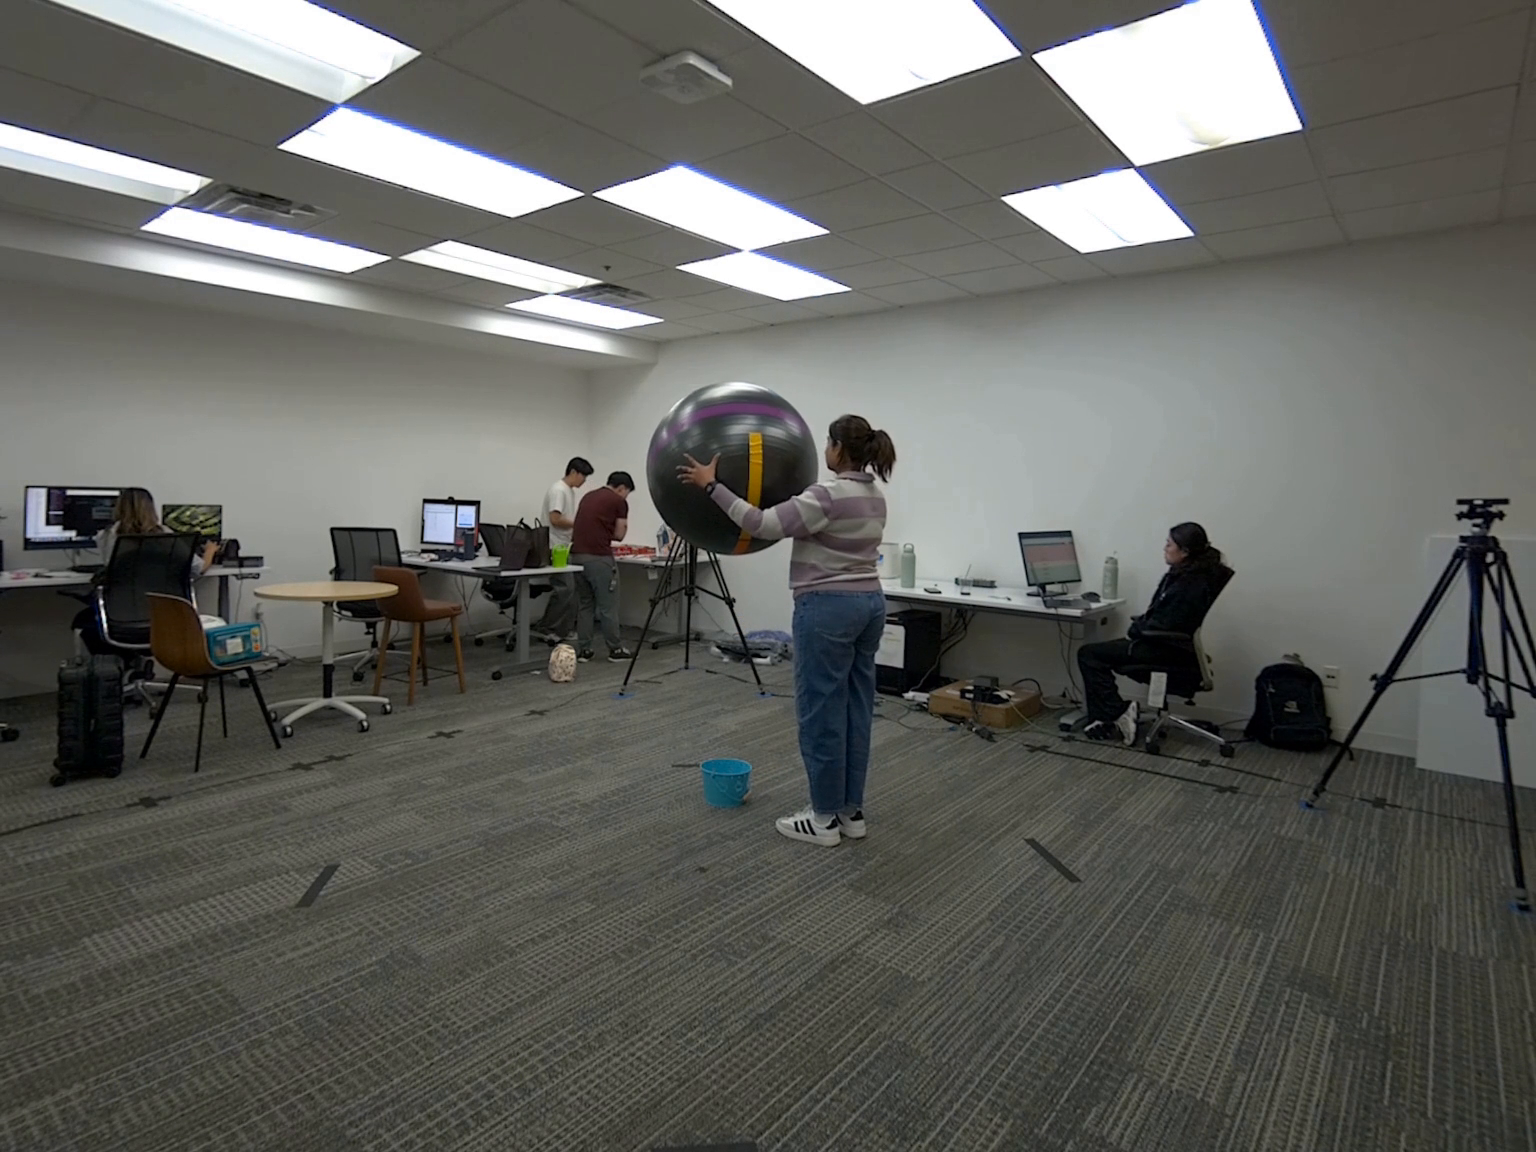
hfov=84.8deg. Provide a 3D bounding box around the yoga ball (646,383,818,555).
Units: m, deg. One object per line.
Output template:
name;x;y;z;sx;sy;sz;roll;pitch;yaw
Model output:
yoga ball;-0.171;-0.469;3.763;0.757;0.756;0.761;1;4;-2
